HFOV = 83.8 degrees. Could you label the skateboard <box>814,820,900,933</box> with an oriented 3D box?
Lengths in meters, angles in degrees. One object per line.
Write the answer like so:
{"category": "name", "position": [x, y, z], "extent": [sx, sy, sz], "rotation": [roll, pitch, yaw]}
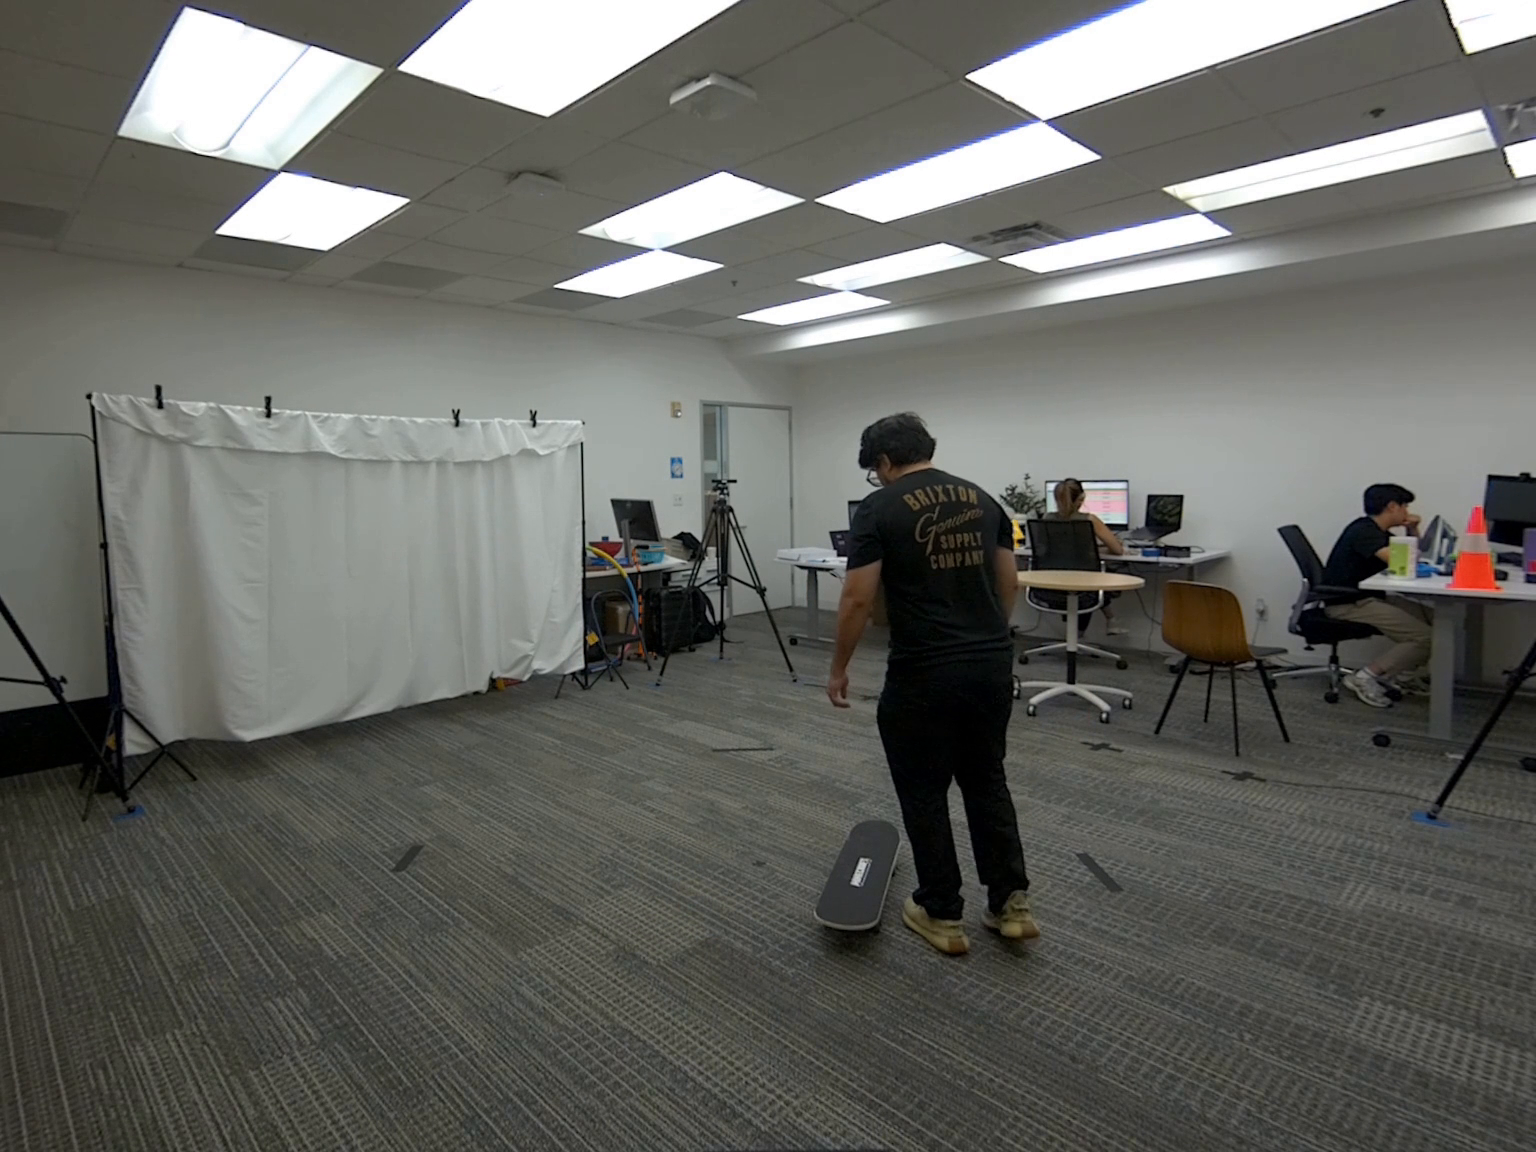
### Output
{"category": "skateboard", "position": [0.312, 1.012, 2.842], "extent": [0.196, 0.110, 0.777], "rotation": [1, 7, 16]}
